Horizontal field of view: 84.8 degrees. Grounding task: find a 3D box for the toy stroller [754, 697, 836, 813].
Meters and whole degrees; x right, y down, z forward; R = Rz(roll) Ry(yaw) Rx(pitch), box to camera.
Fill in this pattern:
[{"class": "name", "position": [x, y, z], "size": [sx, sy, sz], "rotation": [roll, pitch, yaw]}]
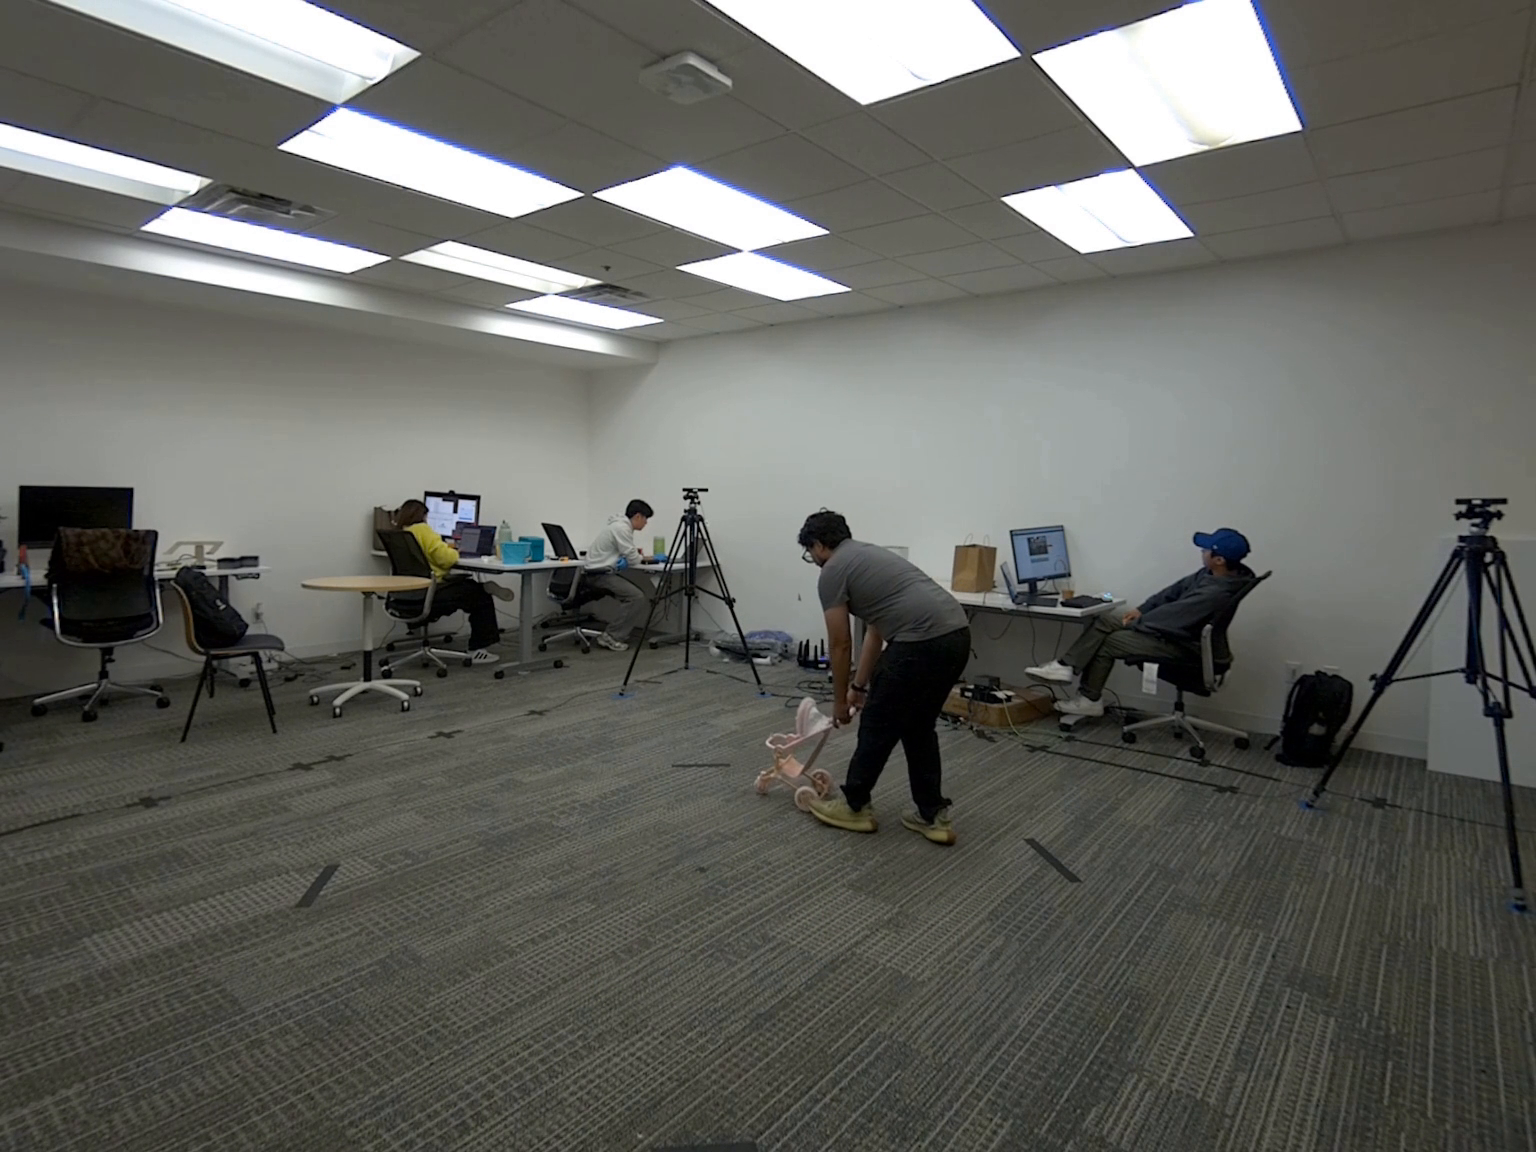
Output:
[{"class": "toy stroller", "position": [0.139, 0.784, 3.832], "size": [0.351, 0.531, 0.275], "rotation": [21, 12, 23]}]
